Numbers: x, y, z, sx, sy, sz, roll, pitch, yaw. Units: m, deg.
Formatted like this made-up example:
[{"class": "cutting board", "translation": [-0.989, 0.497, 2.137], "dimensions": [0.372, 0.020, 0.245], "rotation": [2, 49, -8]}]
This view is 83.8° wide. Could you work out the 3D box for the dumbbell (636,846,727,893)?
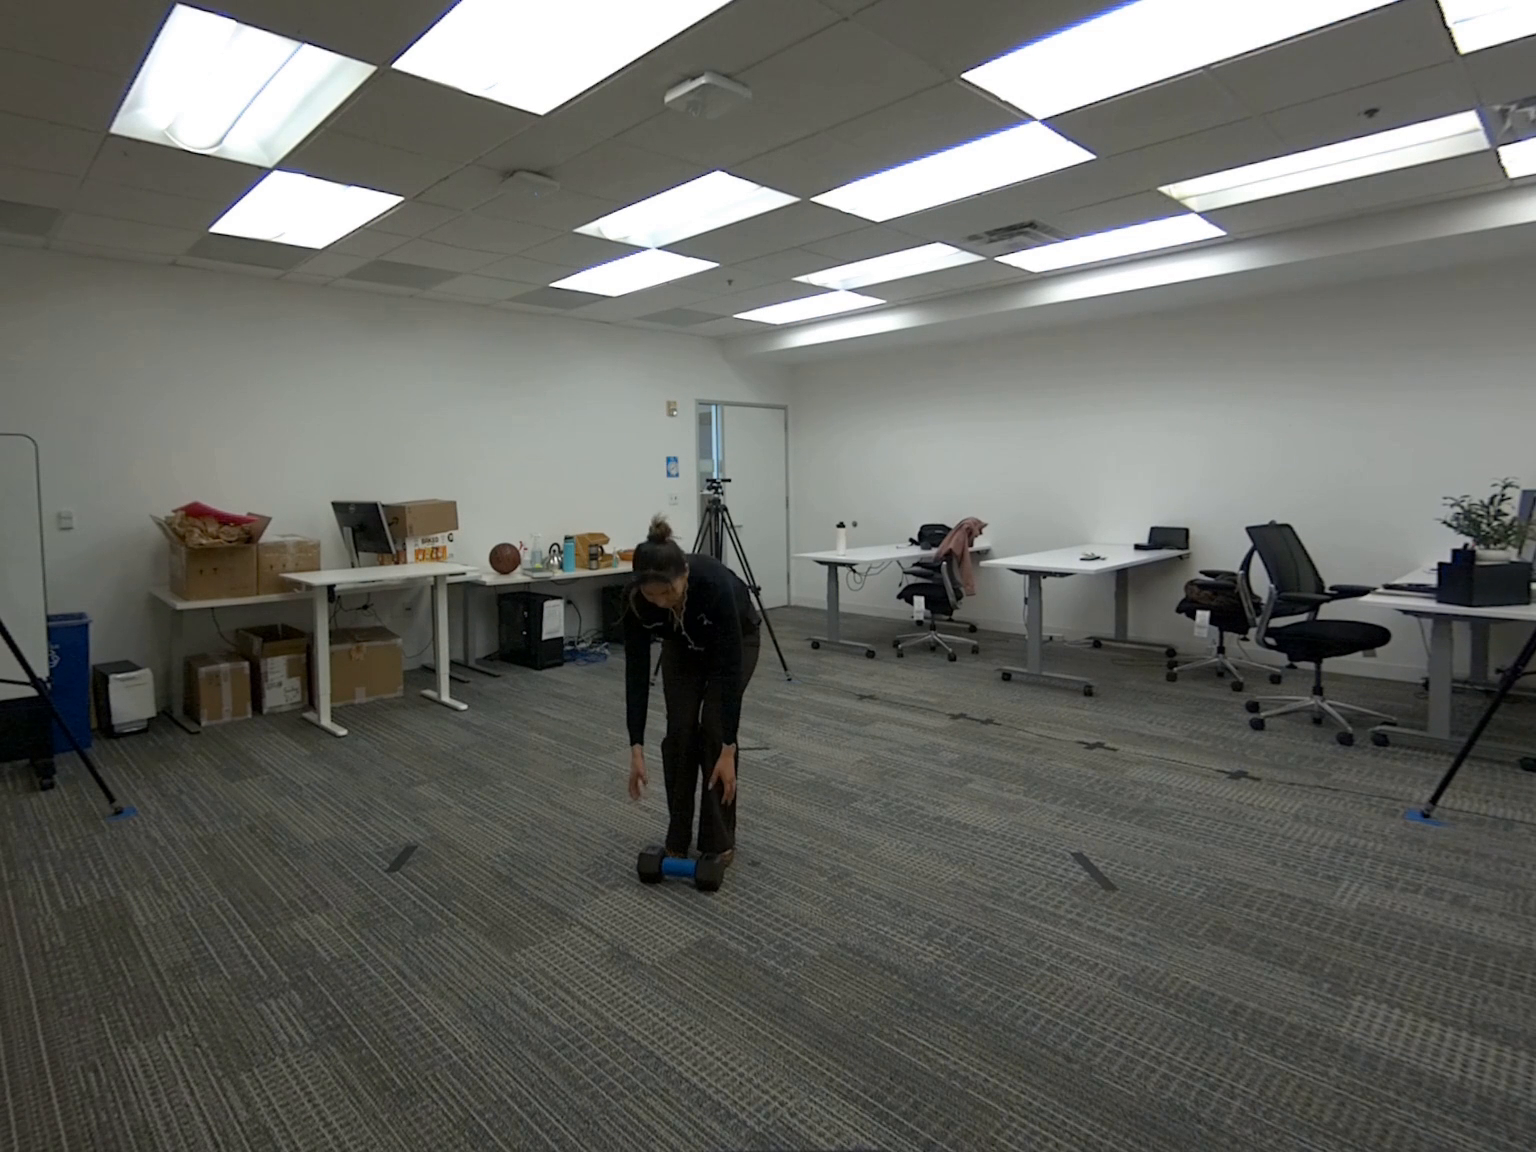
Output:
[{"class": "dumbbell", "translation": [-0.305, 1.017, 2.961], "dimensions": [0.298, 0.125, 0.105], "rotation": [1, -25, 15]}]
